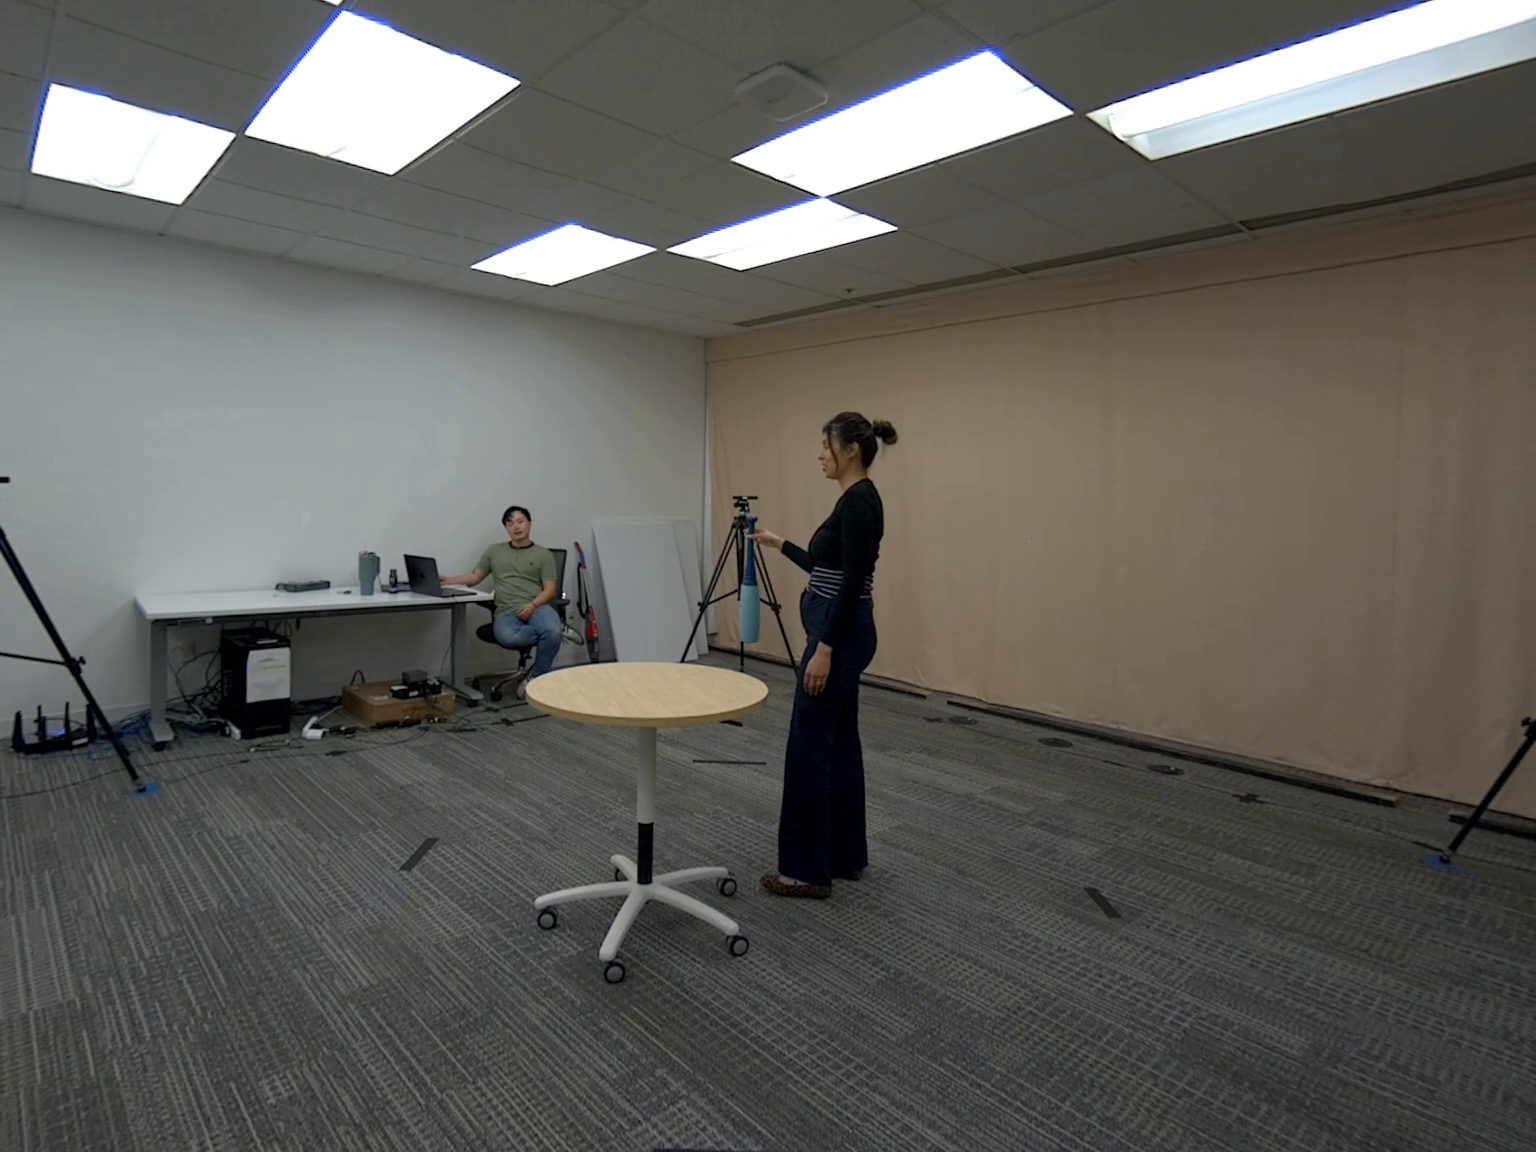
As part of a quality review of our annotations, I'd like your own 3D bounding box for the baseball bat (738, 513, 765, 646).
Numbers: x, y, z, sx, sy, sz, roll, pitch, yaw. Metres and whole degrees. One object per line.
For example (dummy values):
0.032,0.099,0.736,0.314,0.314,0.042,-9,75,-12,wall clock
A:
-0.072,0.011,3.532,0.089,0.539,0.090,2,10,-2,baseball bat
